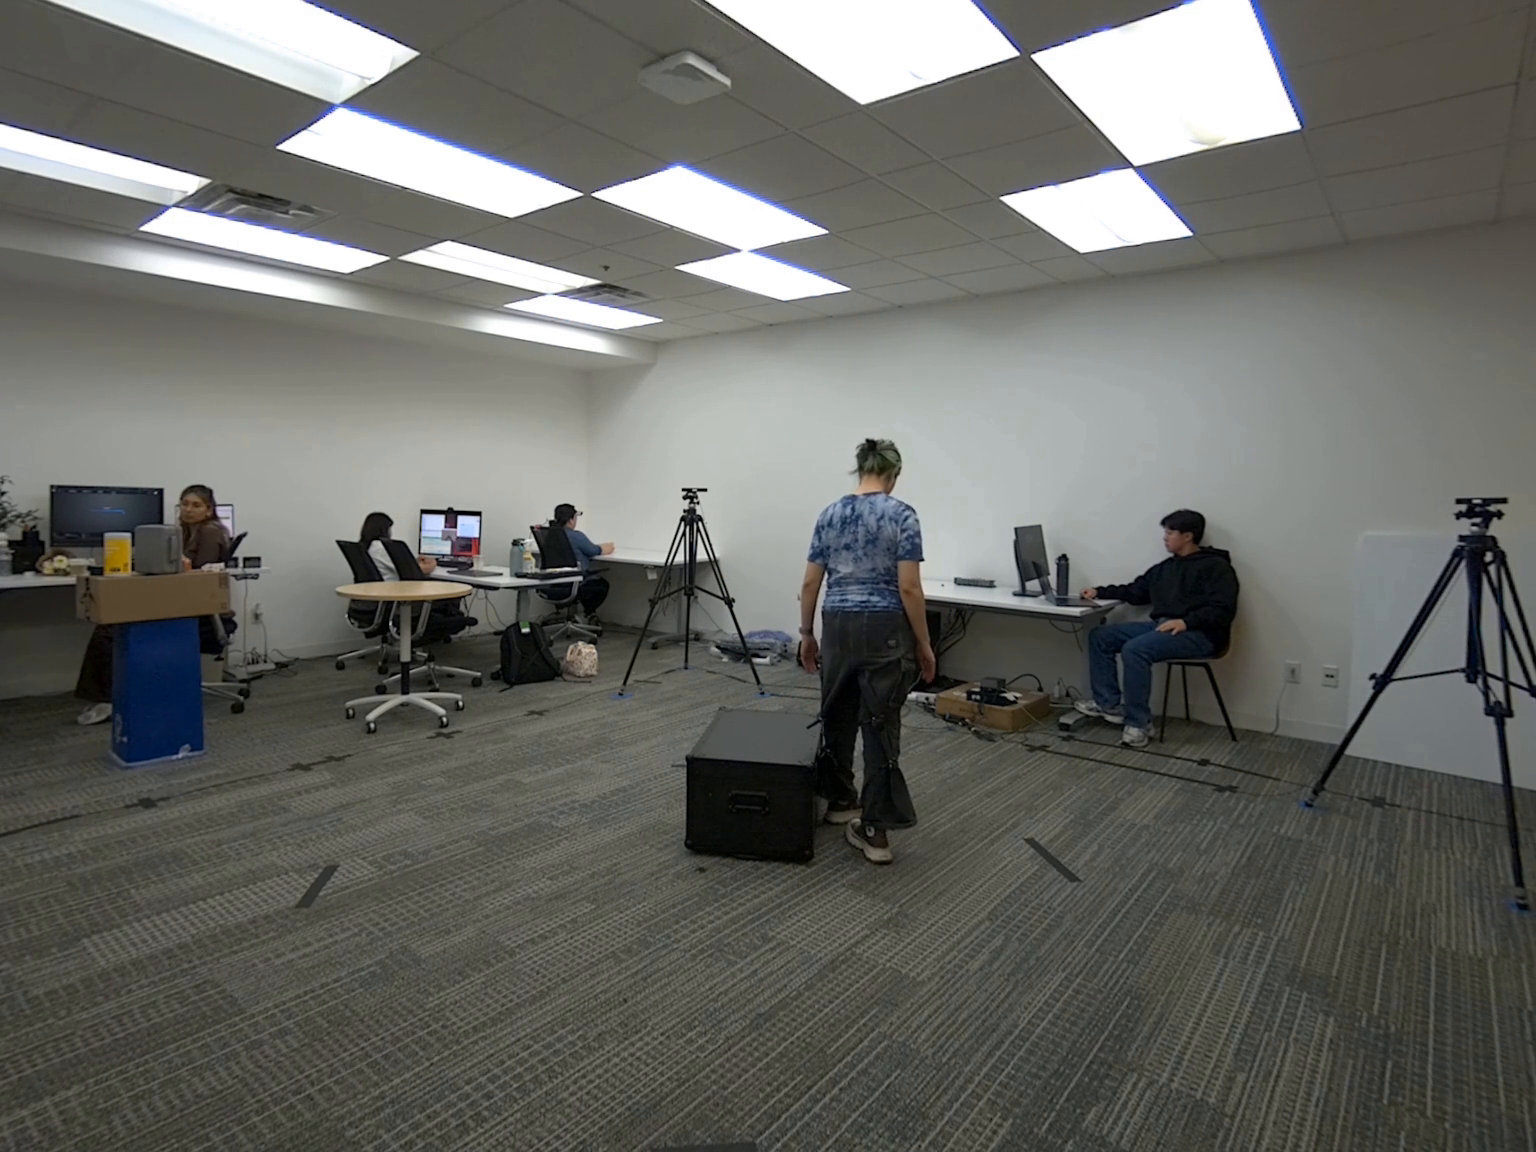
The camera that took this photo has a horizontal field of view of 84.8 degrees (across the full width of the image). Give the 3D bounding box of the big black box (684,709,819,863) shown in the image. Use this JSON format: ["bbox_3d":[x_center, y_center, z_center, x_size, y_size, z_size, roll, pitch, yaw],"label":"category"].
[{"bbox_3d":[-0.033,0.831,3.587,0.526,0.394,0.858,1,6,7],"label":"big black box"}]
